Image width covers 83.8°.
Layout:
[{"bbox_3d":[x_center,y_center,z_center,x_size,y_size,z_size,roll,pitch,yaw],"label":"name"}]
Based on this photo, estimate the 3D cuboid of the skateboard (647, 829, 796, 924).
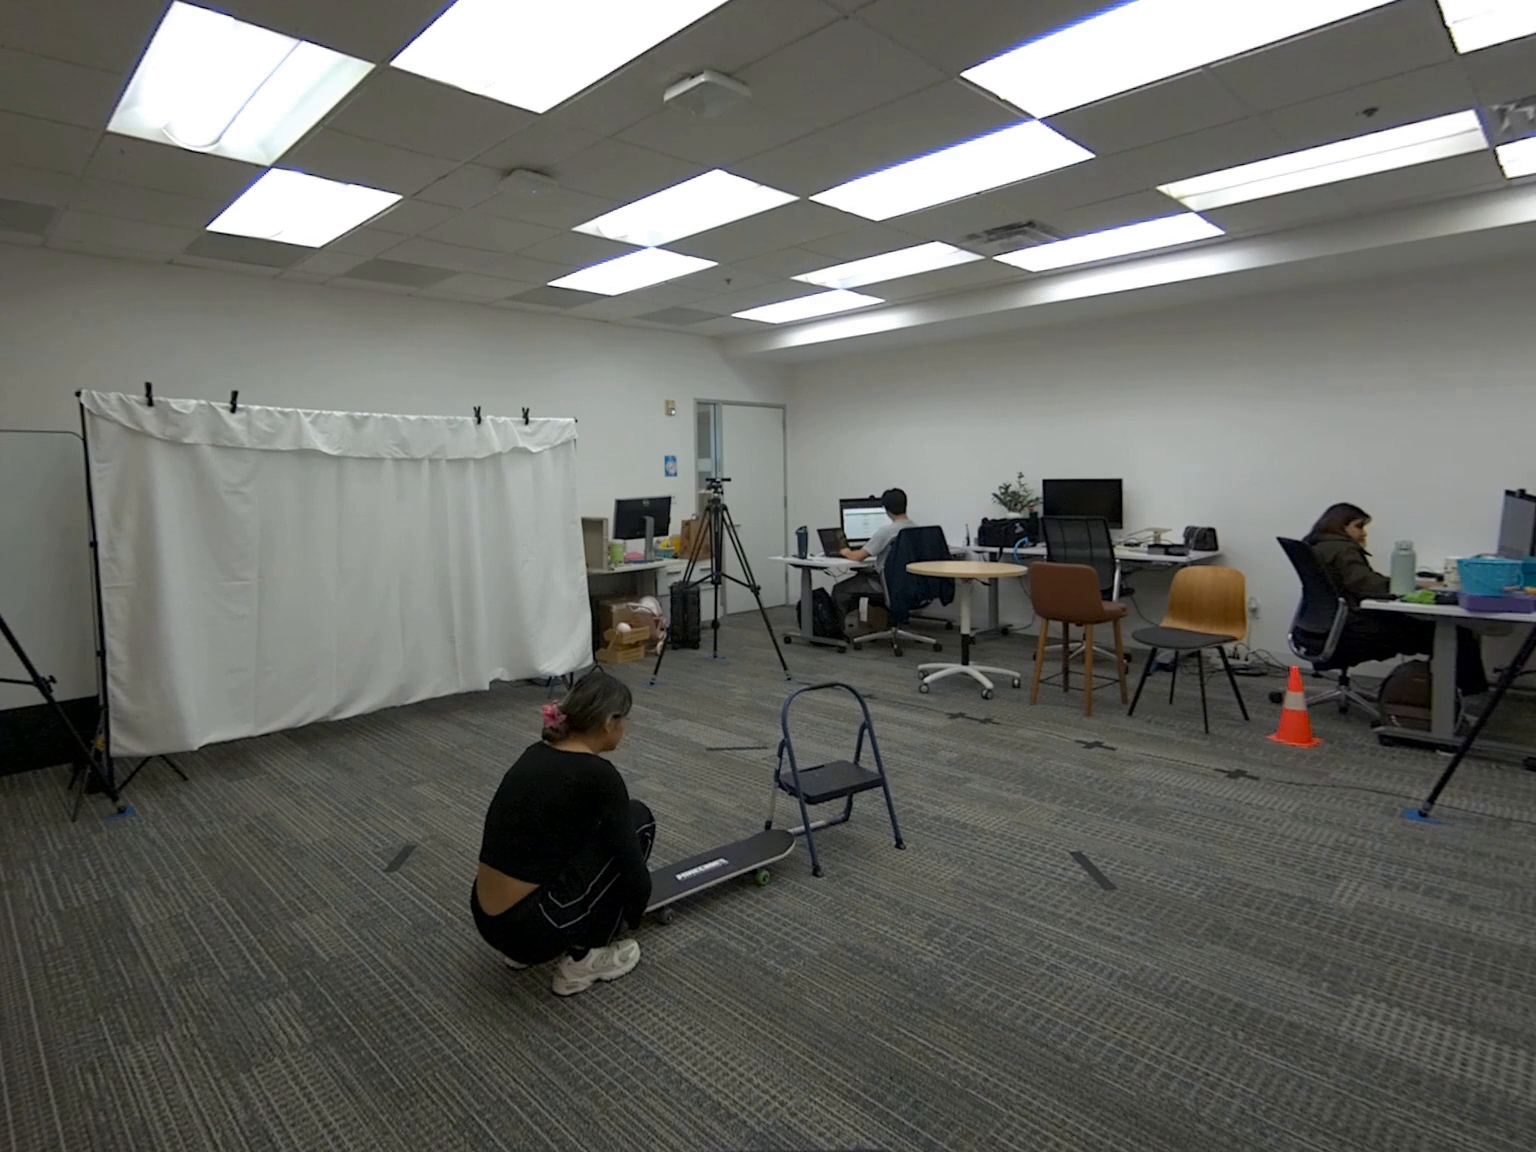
[{"bbox_3d":[-0.217,1.021,2.872,0.766,0.110,0.199,-7,7,-39],"label":"skateboard"}]
